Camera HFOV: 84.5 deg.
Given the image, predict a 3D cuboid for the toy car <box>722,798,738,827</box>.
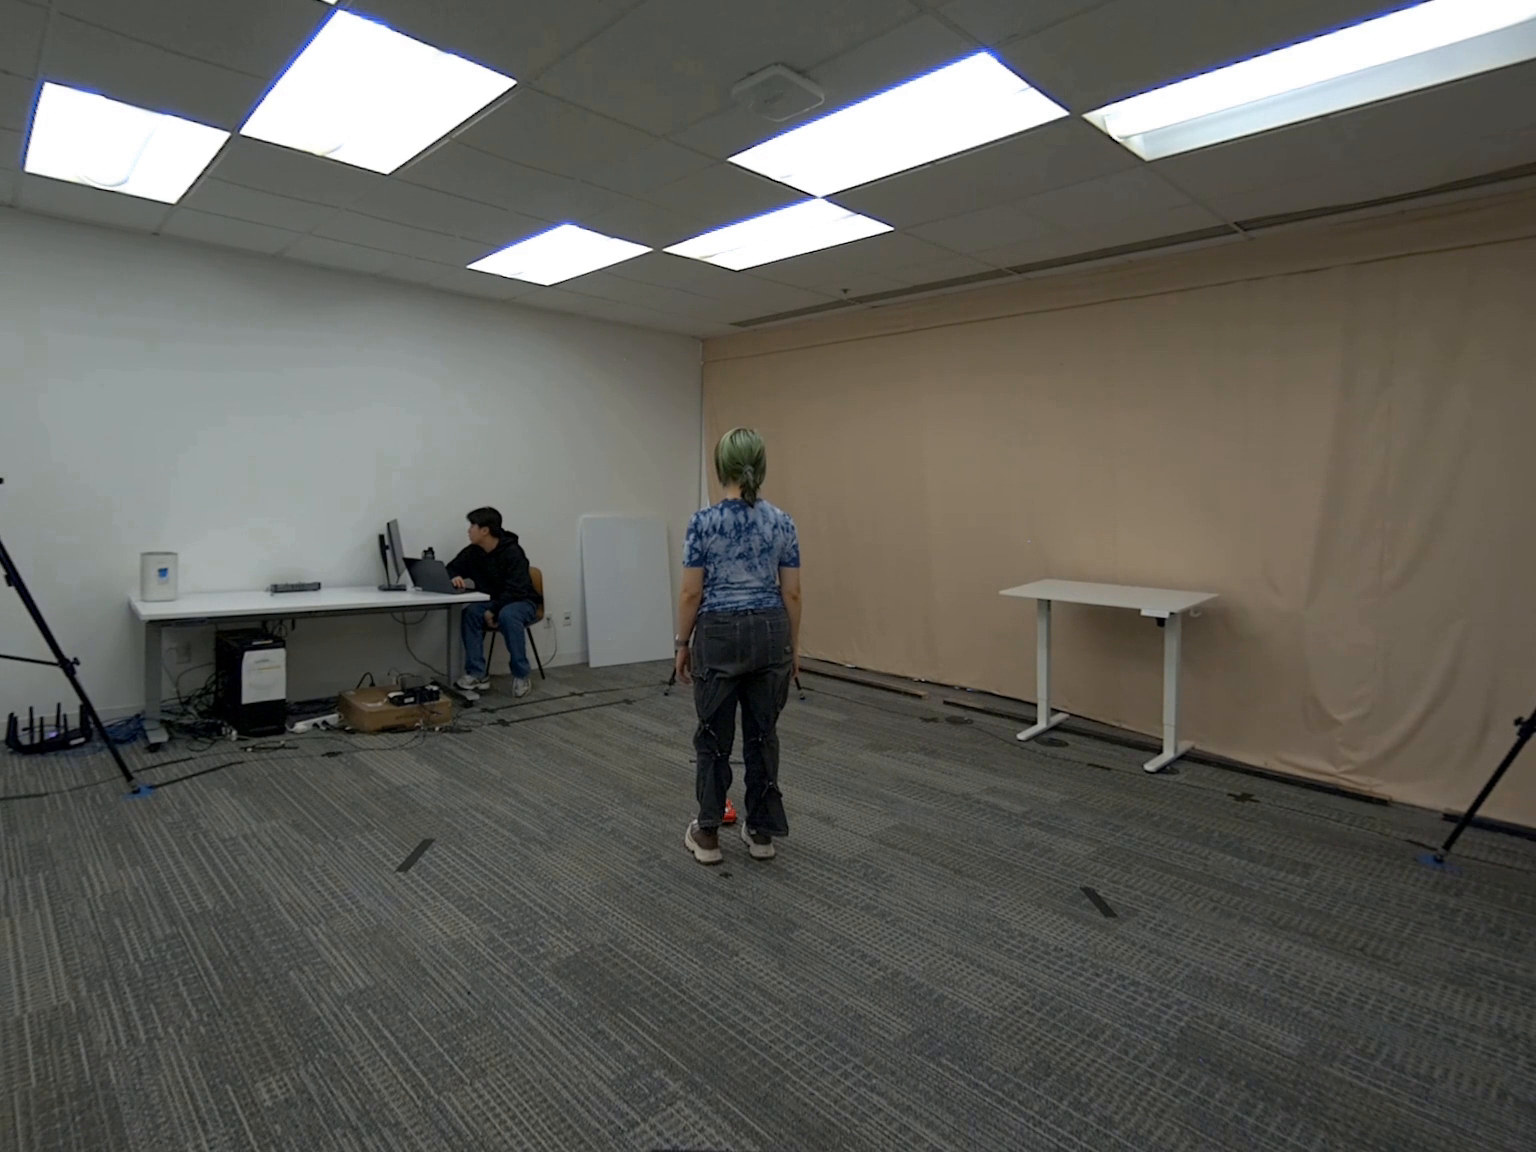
[{"bbox_3d":[-0.210,1.023,3.663,0.129,0.083,0.255,2,-4,-9],"label":"toy car"}]
